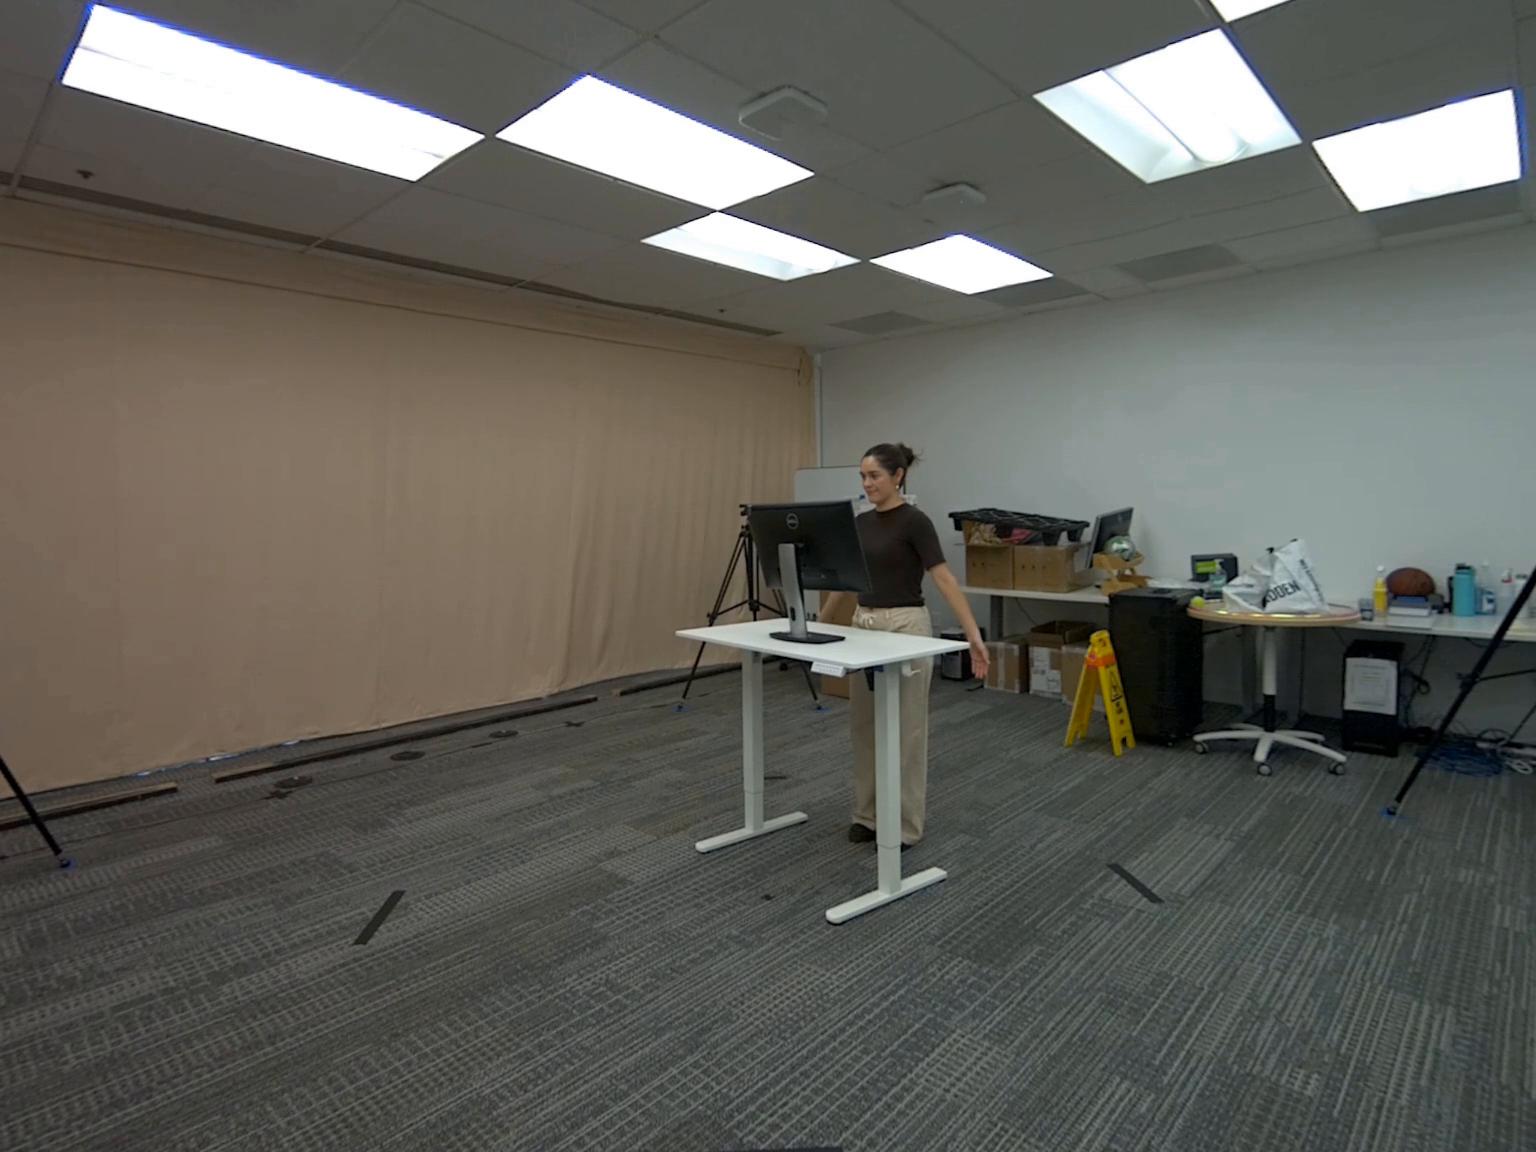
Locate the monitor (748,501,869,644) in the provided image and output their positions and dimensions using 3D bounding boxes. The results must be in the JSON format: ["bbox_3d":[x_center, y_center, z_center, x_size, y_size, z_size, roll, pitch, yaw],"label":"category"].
[{"bbox_3d":[0.136,-0.015,3.162,0.557,0.521,0.182,1,7,44],"label":"monitor"}]
